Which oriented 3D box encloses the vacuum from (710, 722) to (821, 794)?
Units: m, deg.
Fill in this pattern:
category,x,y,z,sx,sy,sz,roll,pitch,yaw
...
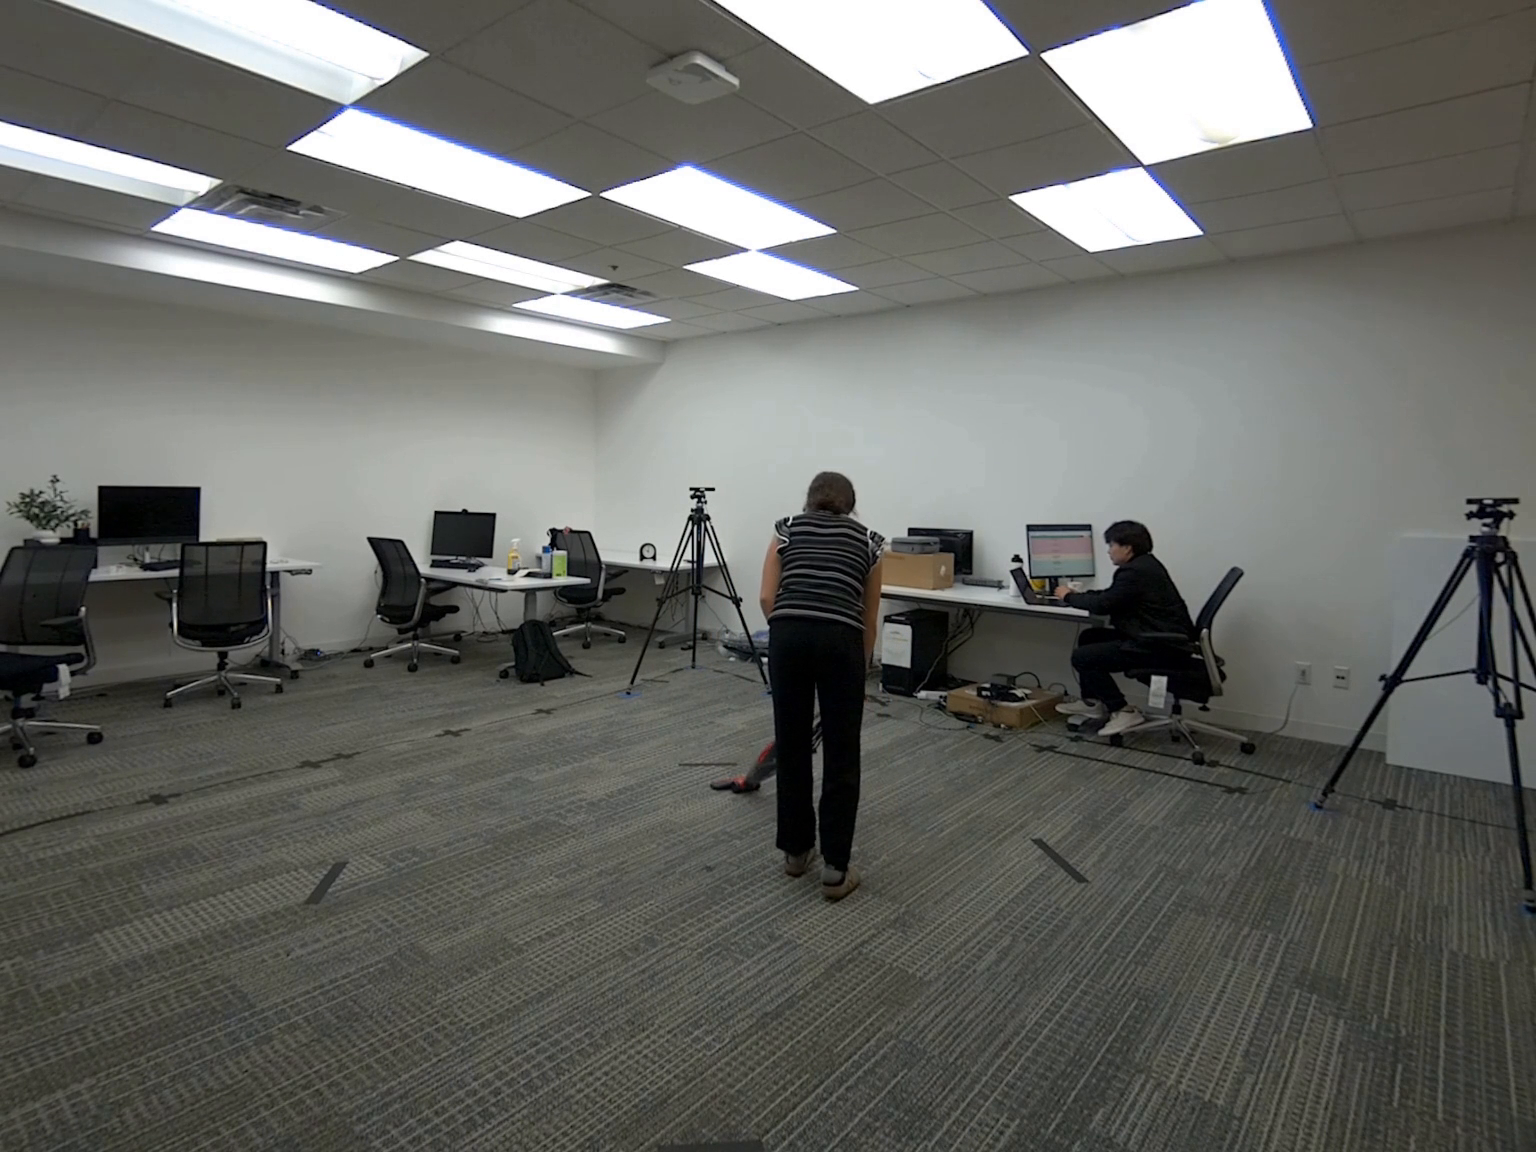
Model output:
category,x,y,z,sx,sy,sz,roll,pitch,yaw
vacuum,0.097,0.705,3.602,0.246,0.148,1.048,-4,-27,-34
